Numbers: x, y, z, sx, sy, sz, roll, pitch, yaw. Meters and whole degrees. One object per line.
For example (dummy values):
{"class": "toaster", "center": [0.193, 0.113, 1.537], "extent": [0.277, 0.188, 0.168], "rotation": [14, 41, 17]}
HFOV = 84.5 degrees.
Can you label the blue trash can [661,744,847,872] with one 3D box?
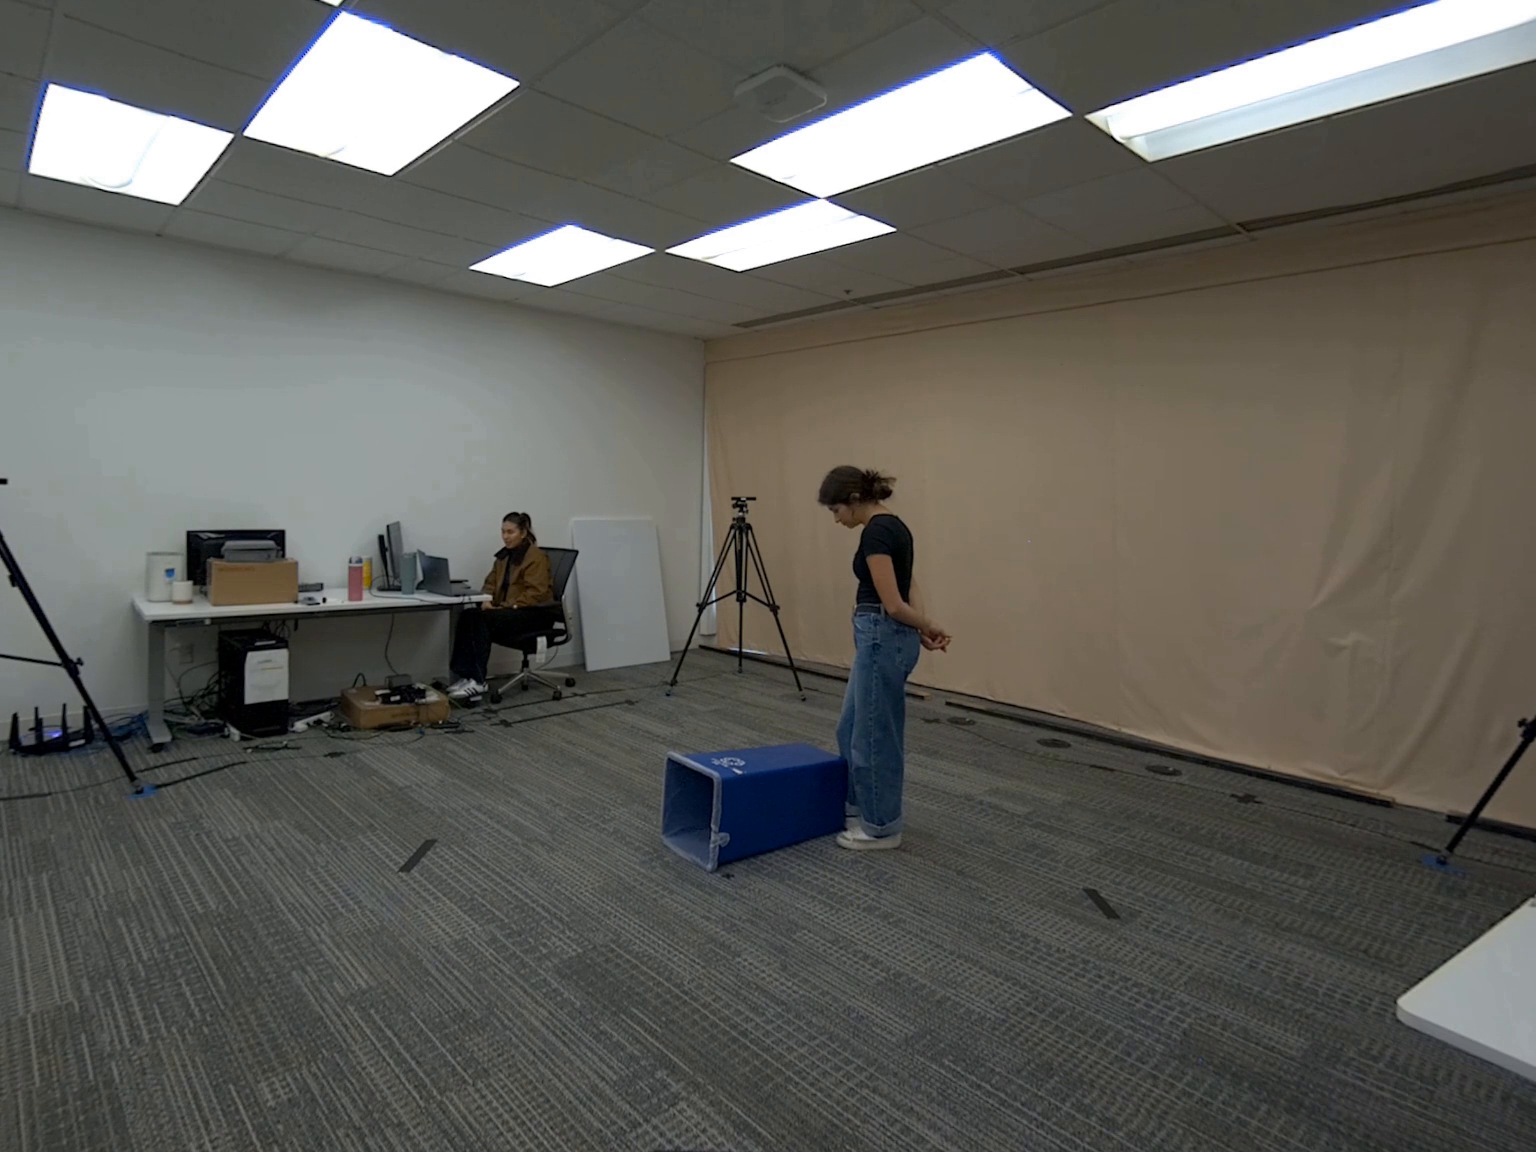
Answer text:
{"class": "blue trash can", "center": [-0.053, 0.912, 3.463], "extent": [0.696, 0.378, 0.383], "rotation": [2, 3, -38]}
